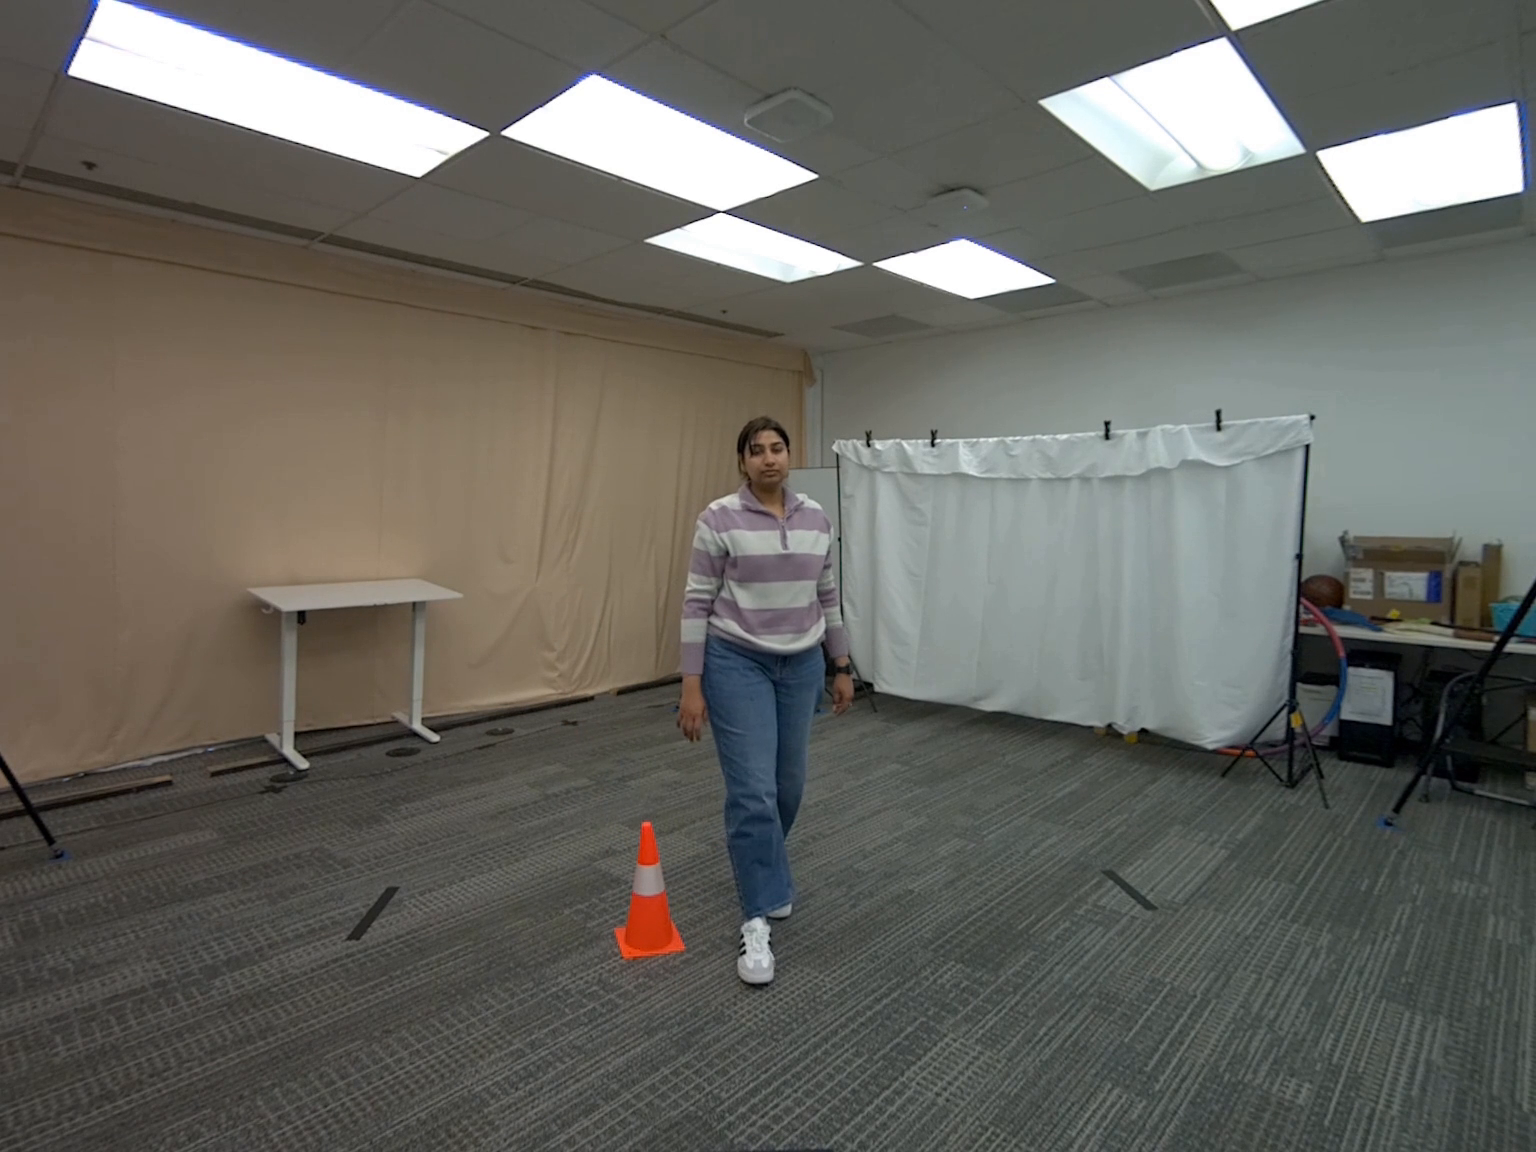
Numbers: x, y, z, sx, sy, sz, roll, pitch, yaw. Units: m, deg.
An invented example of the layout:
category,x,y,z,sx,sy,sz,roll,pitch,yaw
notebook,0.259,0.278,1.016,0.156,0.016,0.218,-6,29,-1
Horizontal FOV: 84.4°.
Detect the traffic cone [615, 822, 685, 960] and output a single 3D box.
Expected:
category,x,y,z,sx,sy,sz,roll,pitch,yaw
traffic cone,-0.396,0.993,2.699,0.201,0.383,0.208,-5,4,-21
